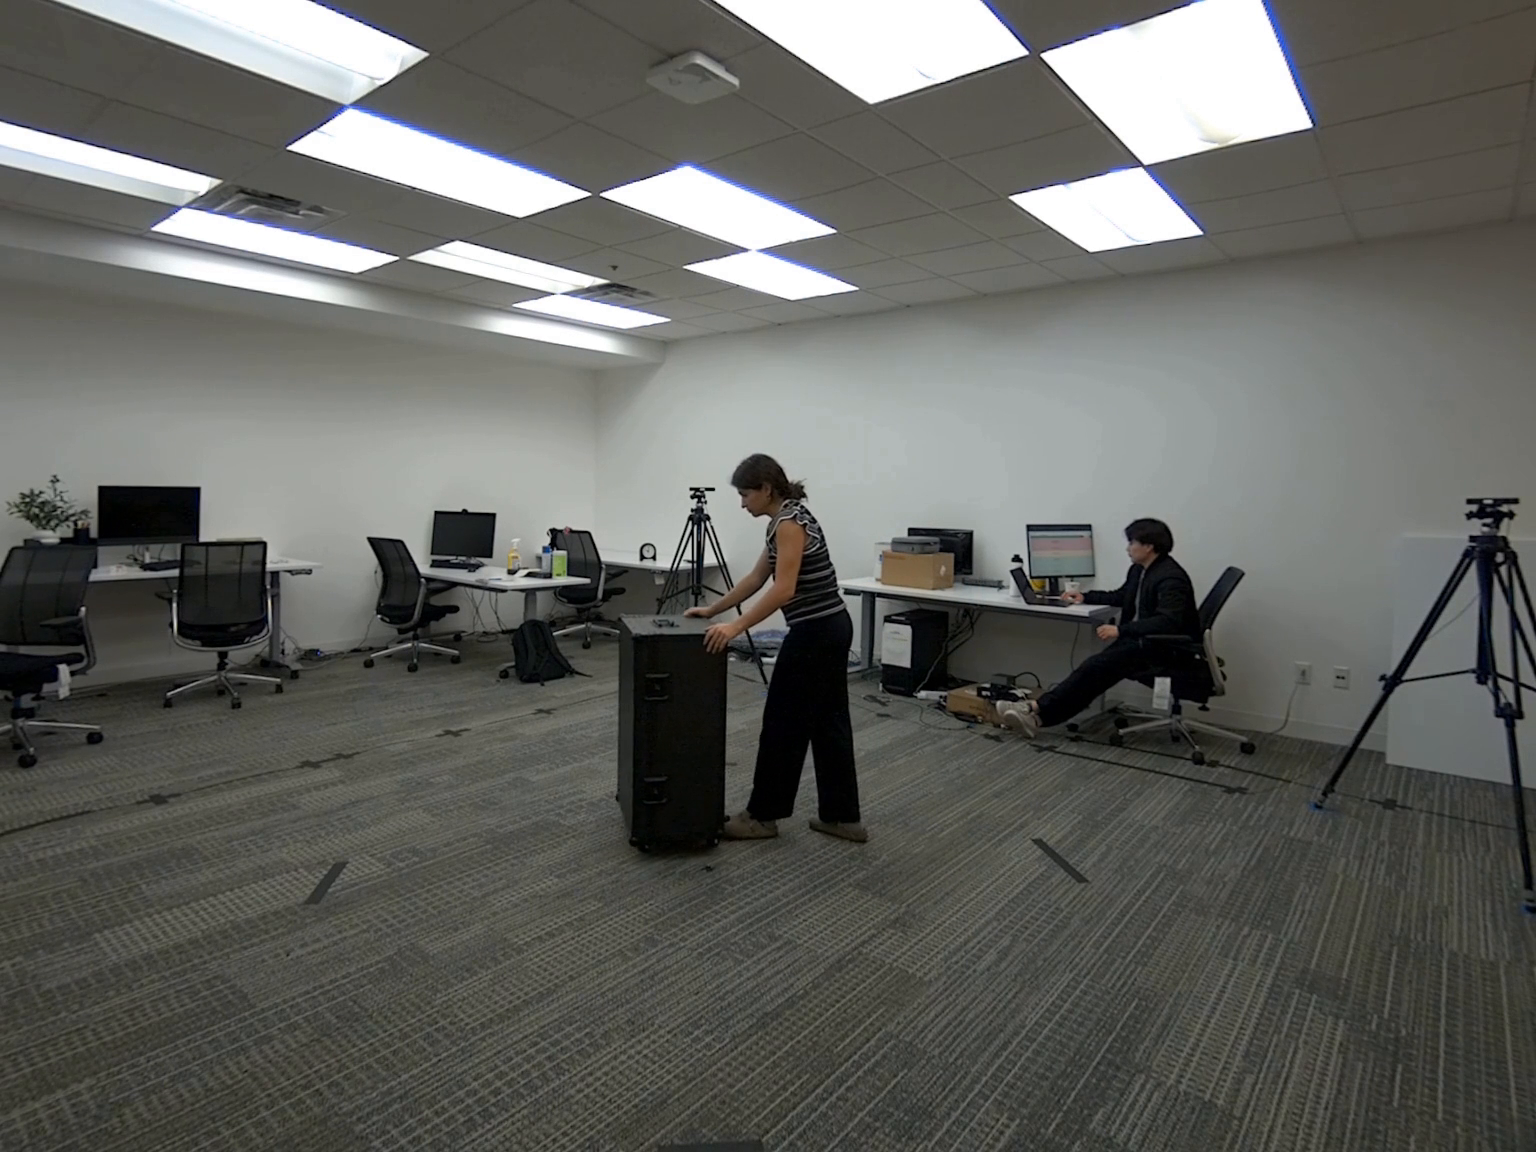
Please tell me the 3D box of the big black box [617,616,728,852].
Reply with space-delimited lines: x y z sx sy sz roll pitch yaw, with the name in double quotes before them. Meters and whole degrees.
"big black box" -0.396 0.611 3.388 0.390 0.860 0.530 1 3 -15
